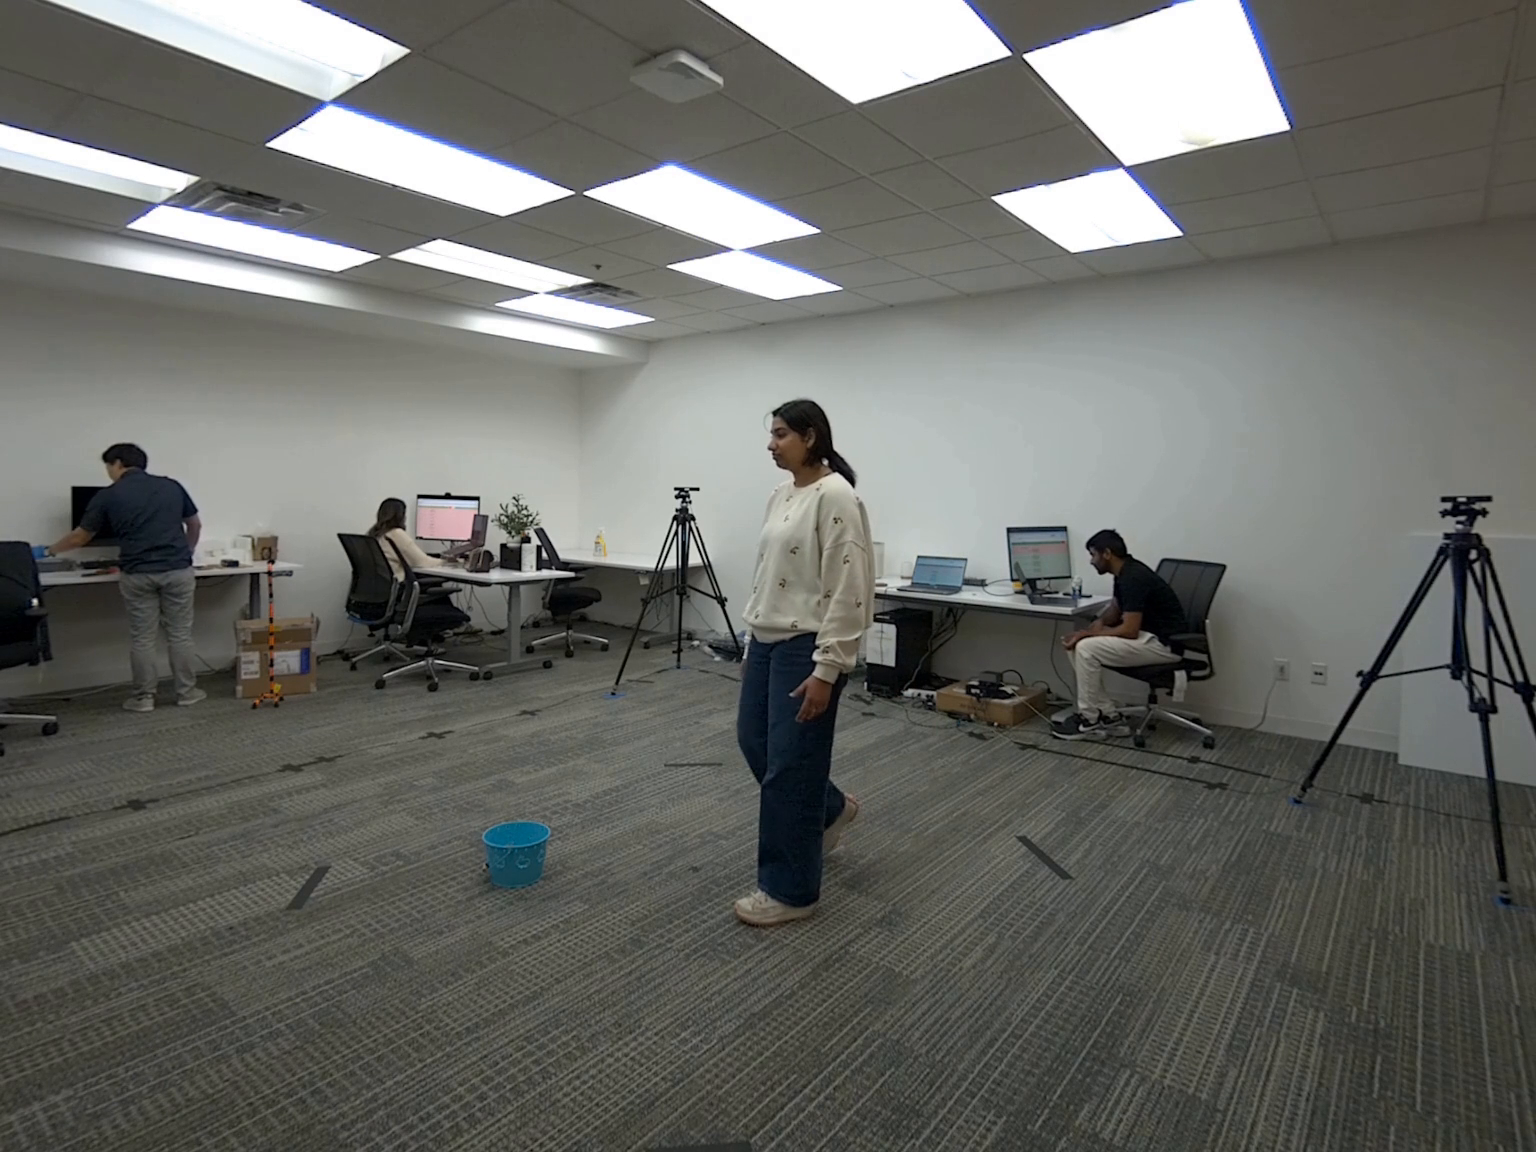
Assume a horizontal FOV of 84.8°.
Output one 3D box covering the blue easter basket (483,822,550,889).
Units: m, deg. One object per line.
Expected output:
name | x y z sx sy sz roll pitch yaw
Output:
blue easter basket | -0.906 0.985 3.030 0.243 0.155 0.245 2 5 -2
